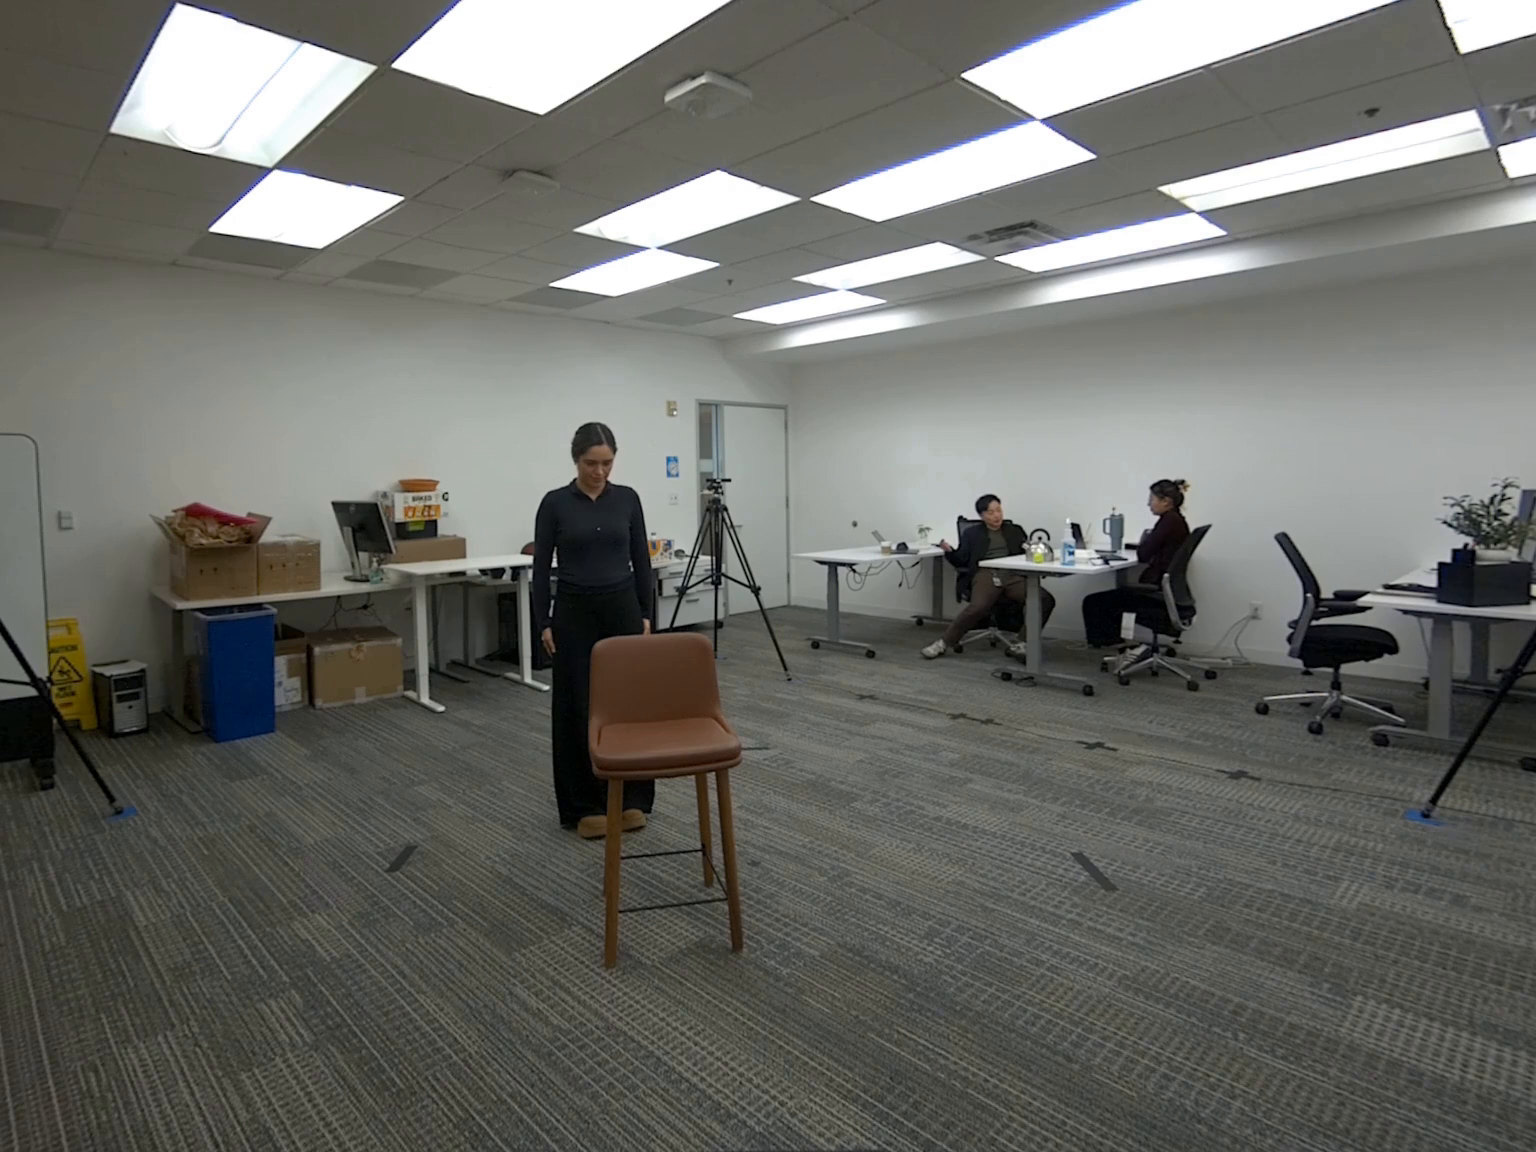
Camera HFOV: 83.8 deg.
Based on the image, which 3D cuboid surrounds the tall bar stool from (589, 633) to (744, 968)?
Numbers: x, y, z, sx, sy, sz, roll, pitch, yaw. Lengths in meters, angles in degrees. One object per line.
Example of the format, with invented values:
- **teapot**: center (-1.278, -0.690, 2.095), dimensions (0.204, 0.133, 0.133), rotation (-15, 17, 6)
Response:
- **tall bar stool**: center (-0.328, 0.655, 2.696), dimensions (0.452, 0.888, 0.473), rotation (-2, 2, -12)
